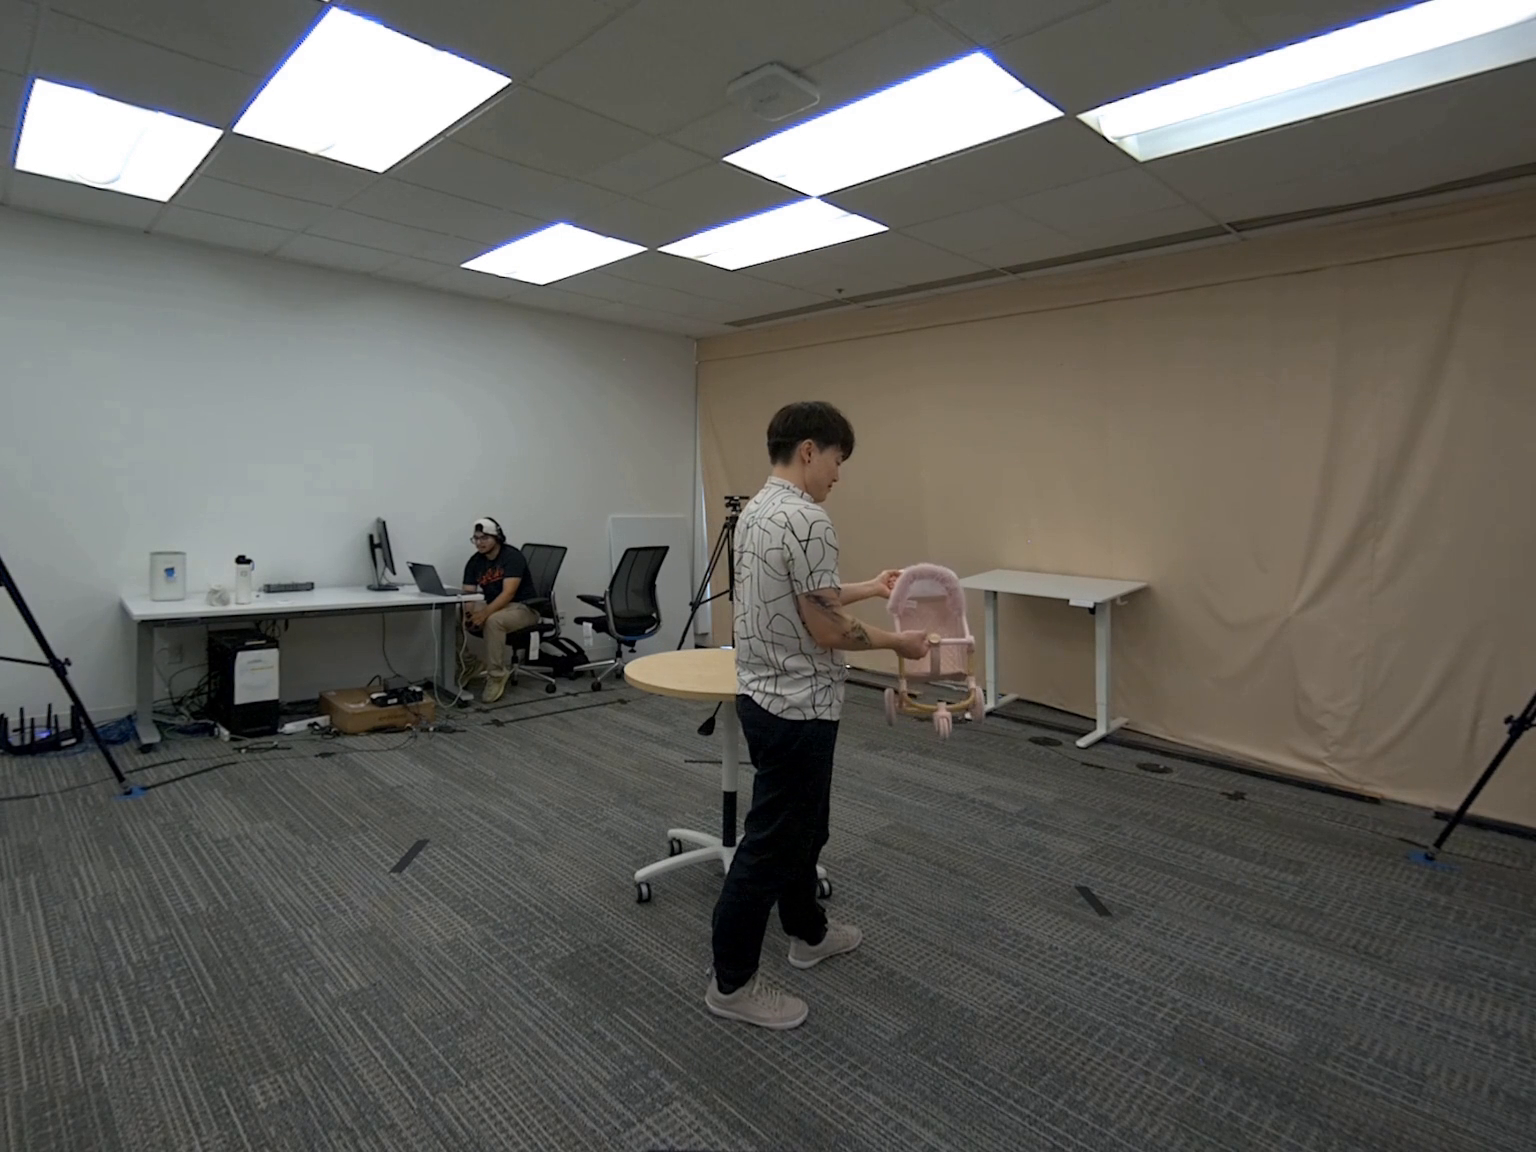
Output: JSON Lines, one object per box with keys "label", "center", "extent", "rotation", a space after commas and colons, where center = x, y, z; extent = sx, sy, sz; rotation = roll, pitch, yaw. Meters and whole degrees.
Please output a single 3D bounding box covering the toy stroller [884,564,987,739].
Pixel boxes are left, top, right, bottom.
{"label": "toy stroller", "center": [0.456, 0.205, 2.401], "extent": [0.284, 0.541, 0.334], "rotation": [-4, -15, 11]}
